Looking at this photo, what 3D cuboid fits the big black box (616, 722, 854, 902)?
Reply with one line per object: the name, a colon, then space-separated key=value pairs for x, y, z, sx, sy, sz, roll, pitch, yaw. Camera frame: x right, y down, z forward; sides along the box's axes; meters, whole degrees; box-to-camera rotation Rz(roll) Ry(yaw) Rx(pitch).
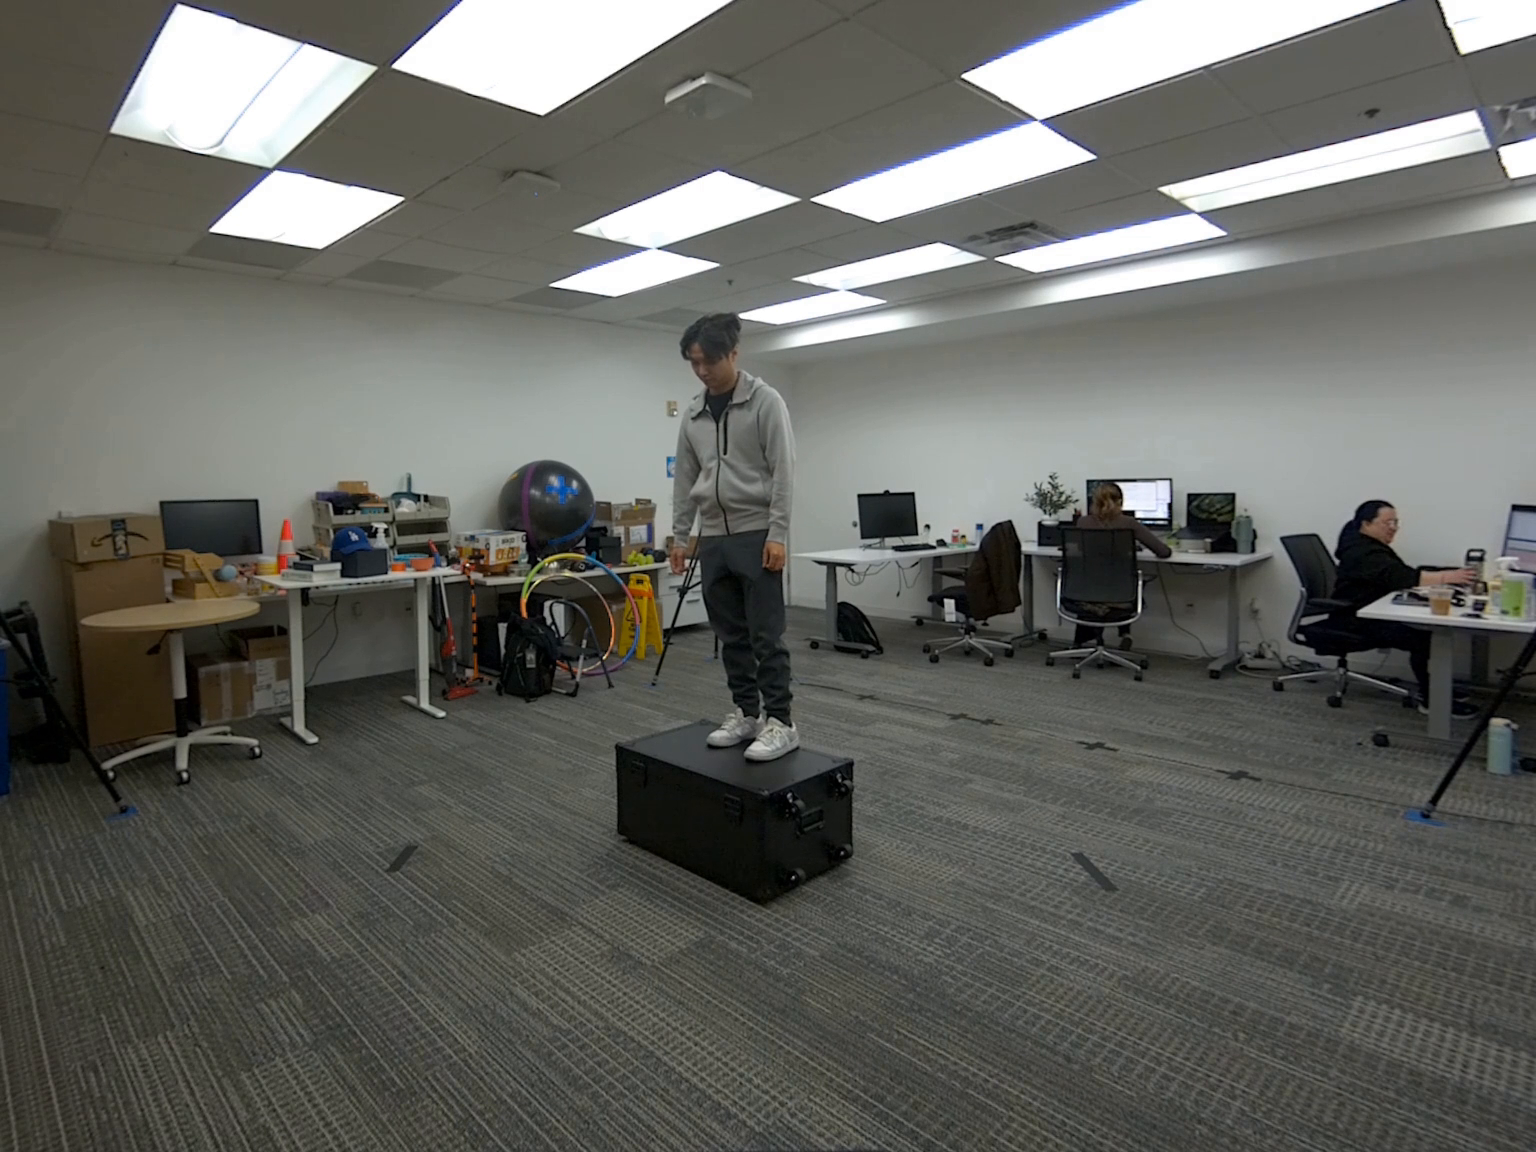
big black box: x=-0.115 y=0.846 z=3.187 sx=0.888 sy=0.395 sz=0.507 roll=4 pitch=7 yaw=43
